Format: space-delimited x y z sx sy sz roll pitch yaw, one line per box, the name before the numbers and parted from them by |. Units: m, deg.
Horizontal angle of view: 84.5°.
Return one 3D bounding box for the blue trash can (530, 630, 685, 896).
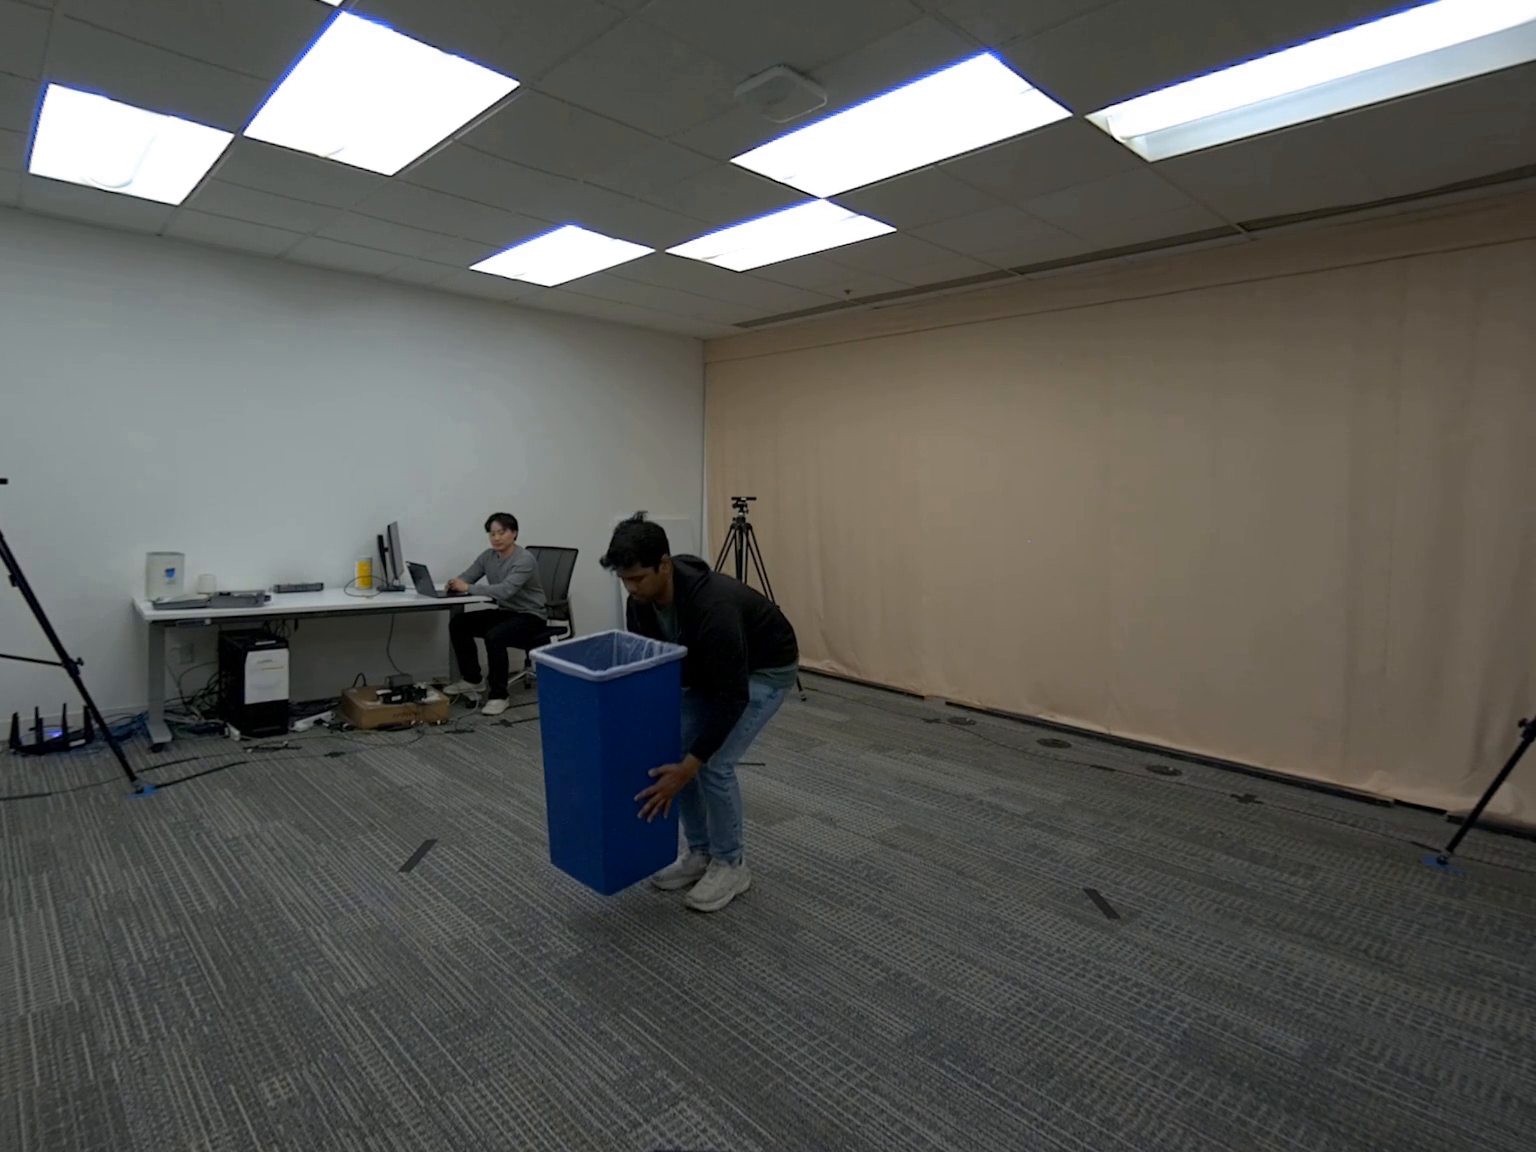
blue trash can | -0.512 0.581 2.669 0.388 0.709 0.366 7 11 42
